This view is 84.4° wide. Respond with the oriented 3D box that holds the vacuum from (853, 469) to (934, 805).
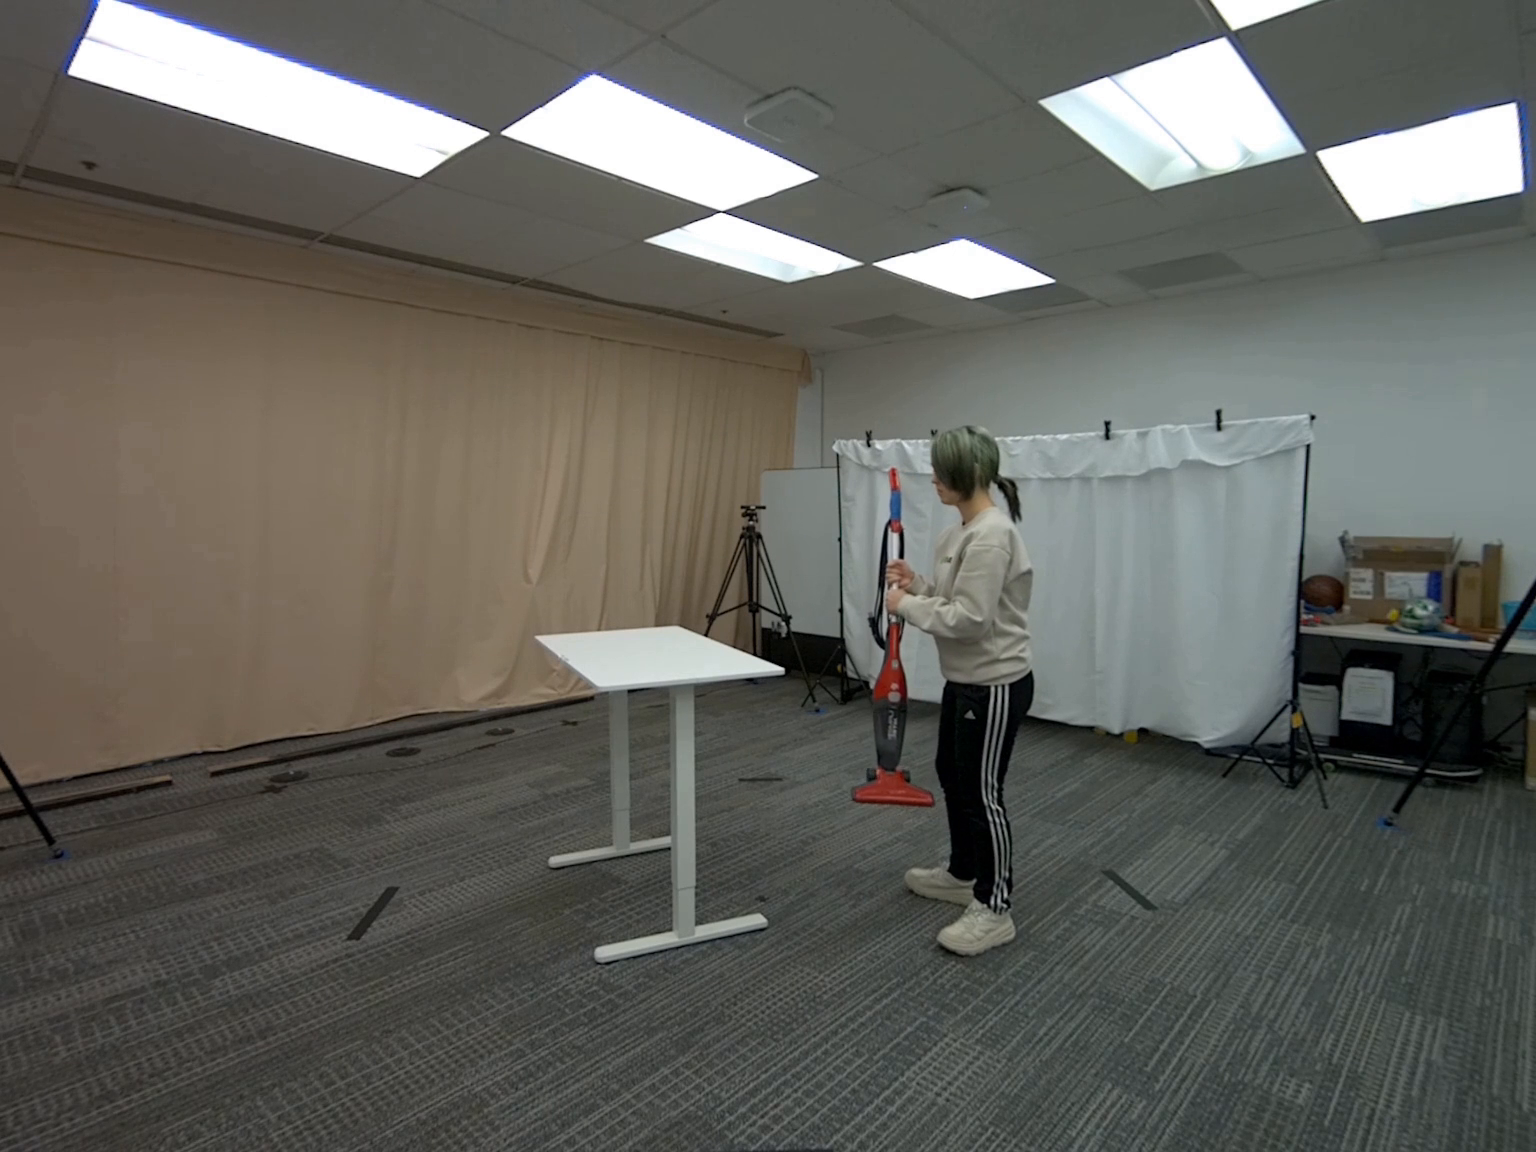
[{"bbox_3d":[0.418,0.160,2.750,0.253,1.057,0.143,1,-12,1],"label":"vacuum"}]
